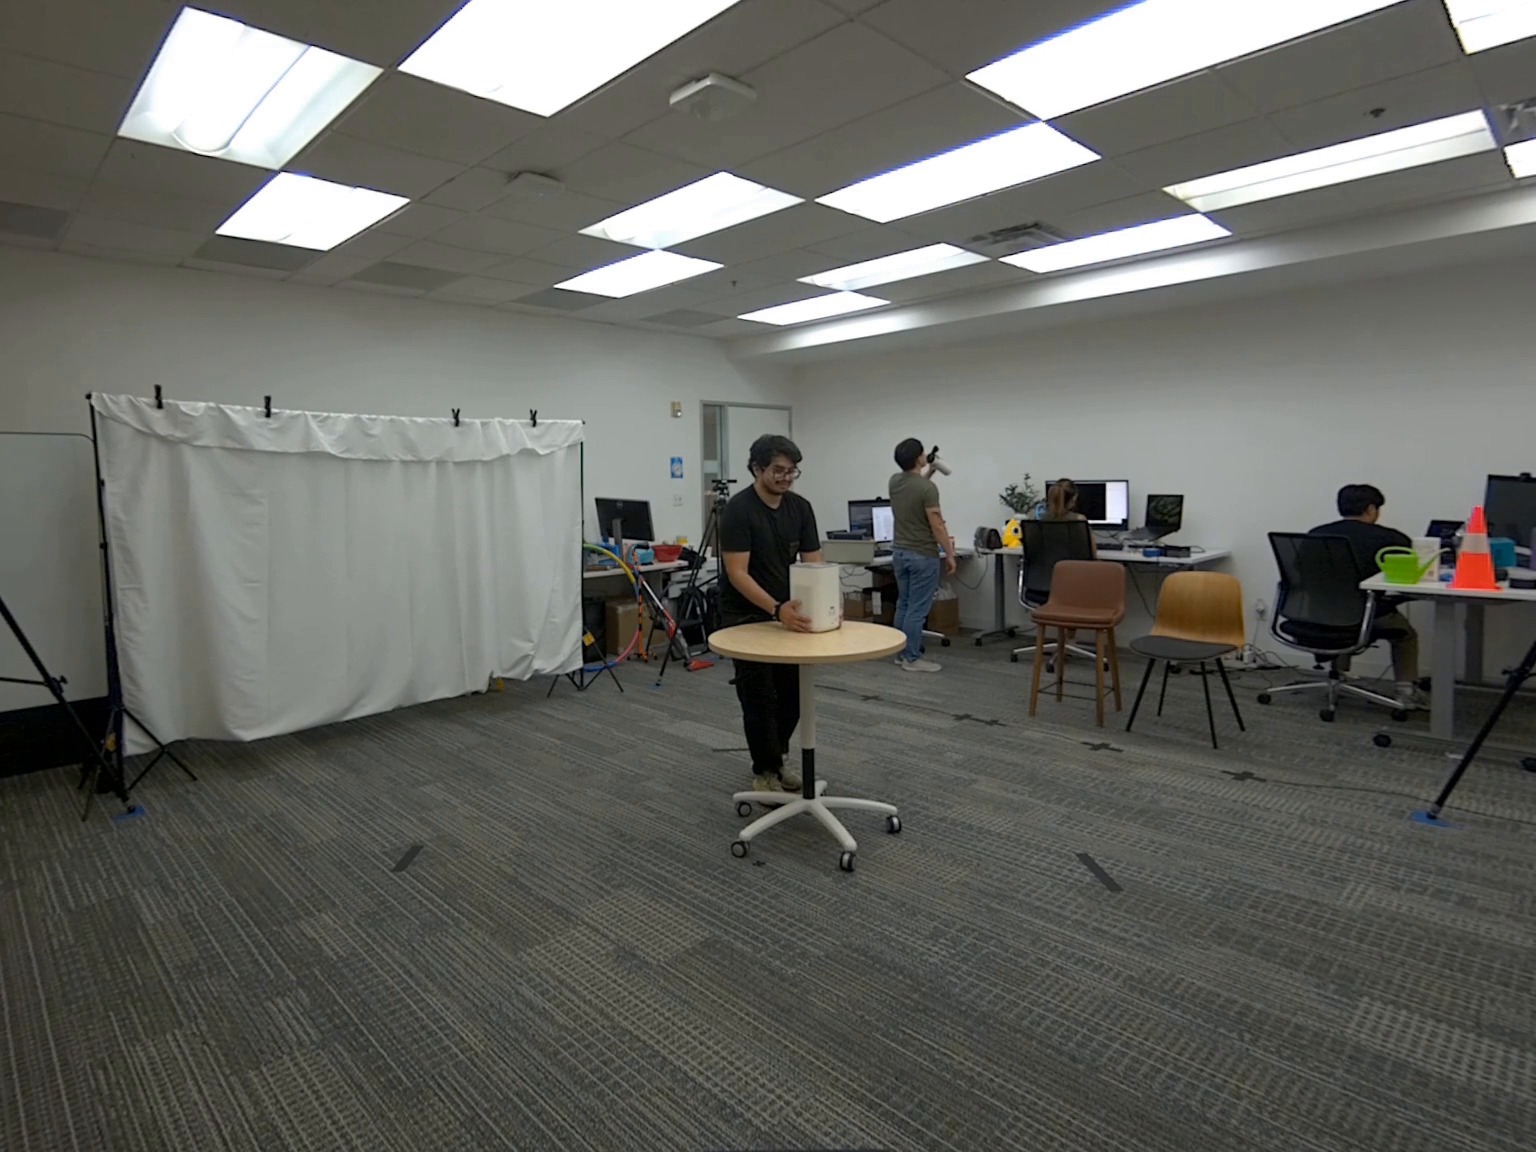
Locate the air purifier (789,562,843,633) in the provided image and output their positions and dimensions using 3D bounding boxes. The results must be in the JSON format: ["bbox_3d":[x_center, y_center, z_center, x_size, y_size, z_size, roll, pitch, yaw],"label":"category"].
[{"bbox_3d":[0.196,0.086,3.475,0.177,0.264,0.166,3,5,40],"label":"air purifier"}]
